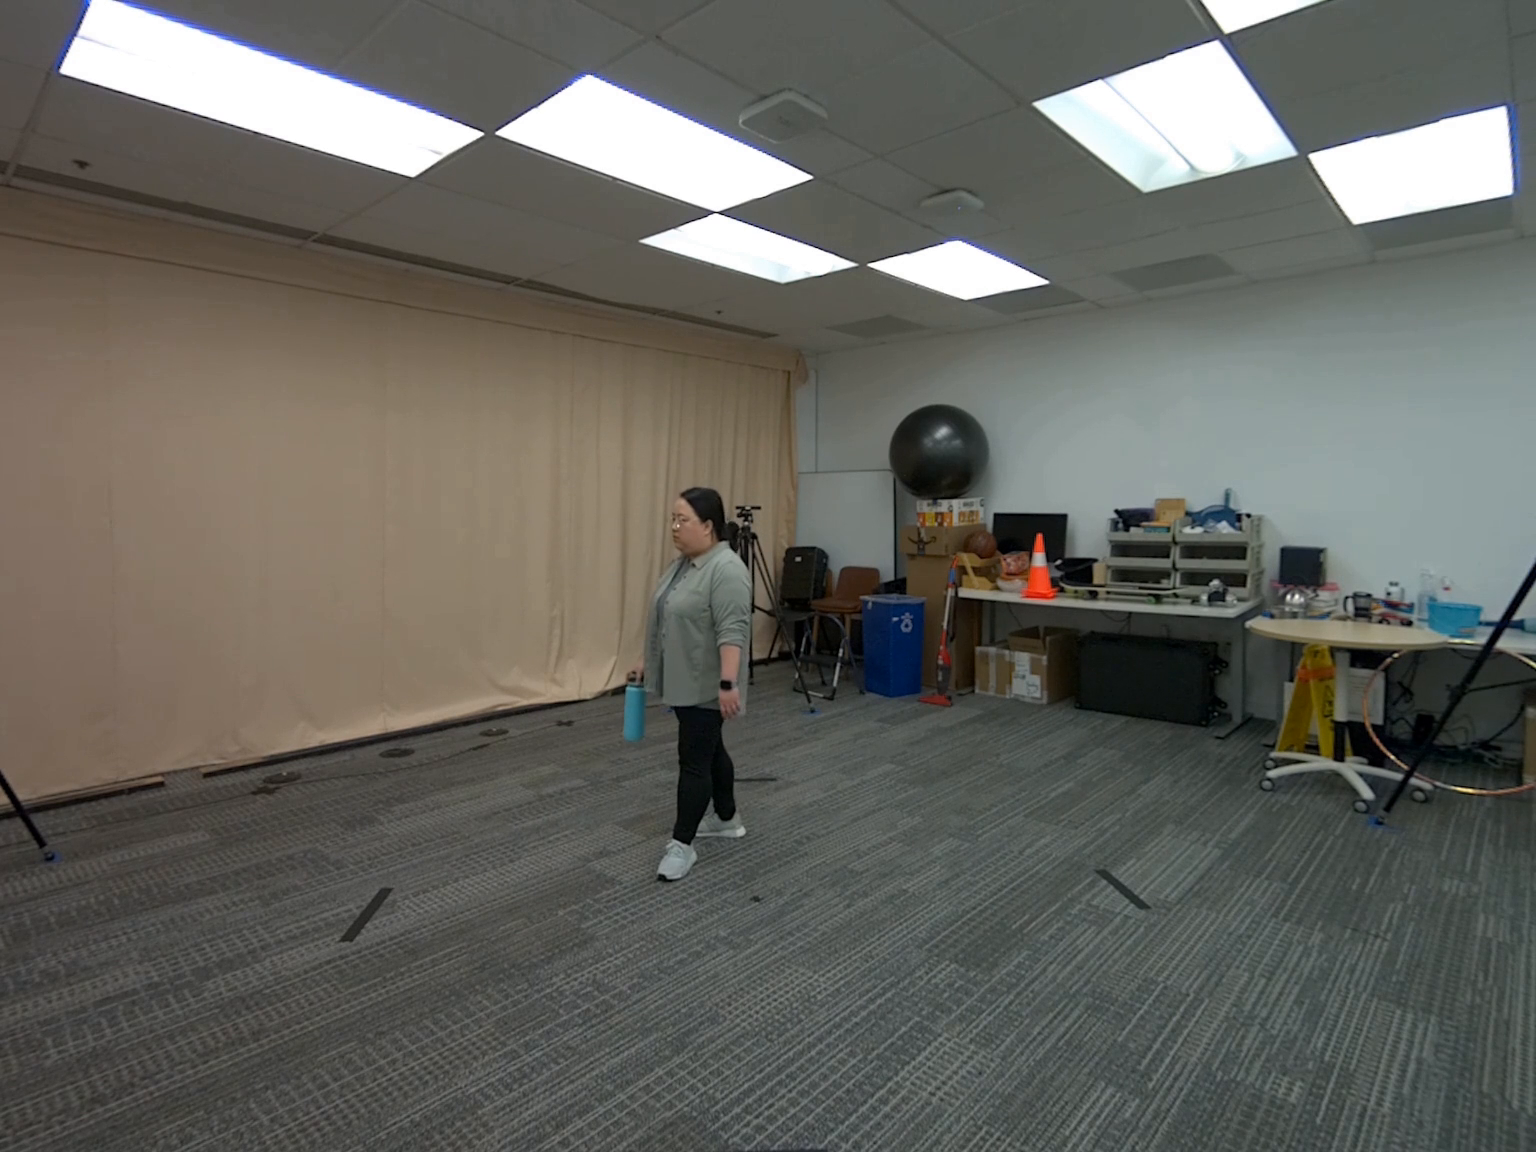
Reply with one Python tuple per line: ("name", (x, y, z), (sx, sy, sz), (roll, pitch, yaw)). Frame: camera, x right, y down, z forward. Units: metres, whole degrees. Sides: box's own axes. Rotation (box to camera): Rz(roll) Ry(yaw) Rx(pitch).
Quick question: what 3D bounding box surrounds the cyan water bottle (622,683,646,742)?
("cyan water bottle", (-0.566, 0.555, 3.618), (0.092, 0.283, 0.092), (2, 2, -2))
